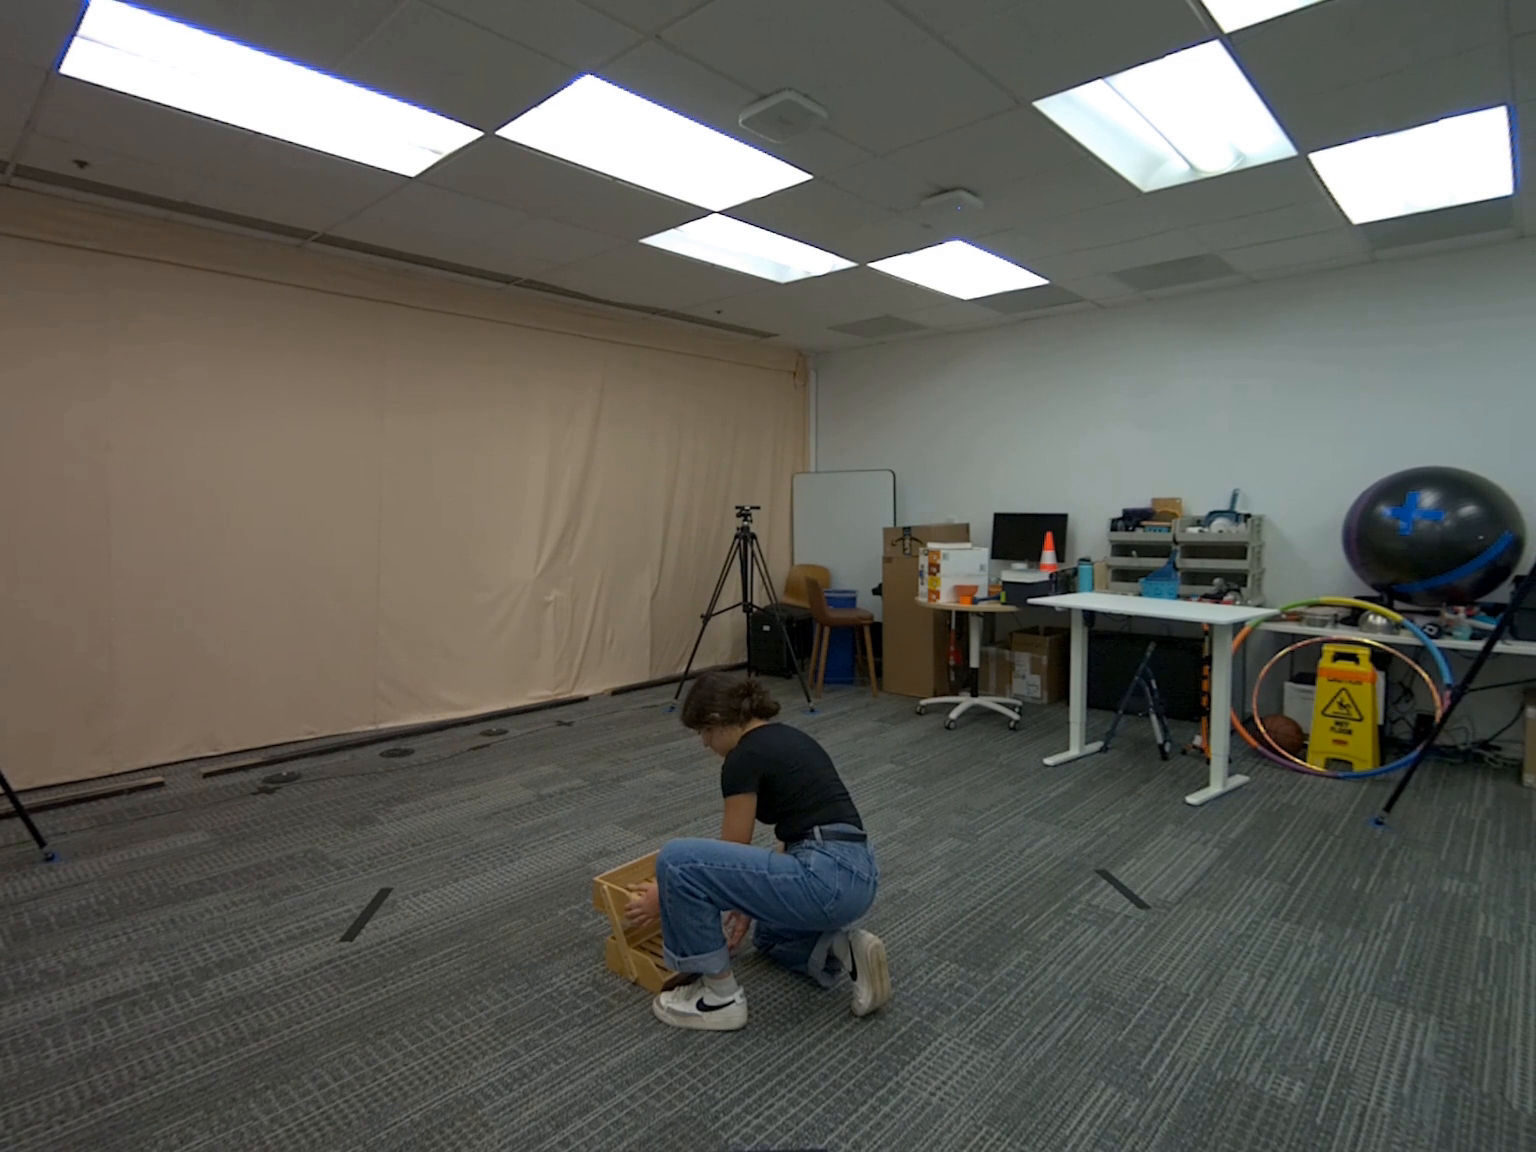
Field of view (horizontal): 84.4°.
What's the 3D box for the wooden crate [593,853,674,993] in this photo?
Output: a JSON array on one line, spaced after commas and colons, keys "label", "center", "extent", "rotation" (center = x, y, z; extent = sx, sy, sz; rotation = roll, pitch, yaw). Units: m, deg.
[{"label": "wooden crate", "center": [-0.320, 1.045, 2.582], "extent": [0.312, 0.273, 0.315], "rotation": [1, 4, 40]}]
